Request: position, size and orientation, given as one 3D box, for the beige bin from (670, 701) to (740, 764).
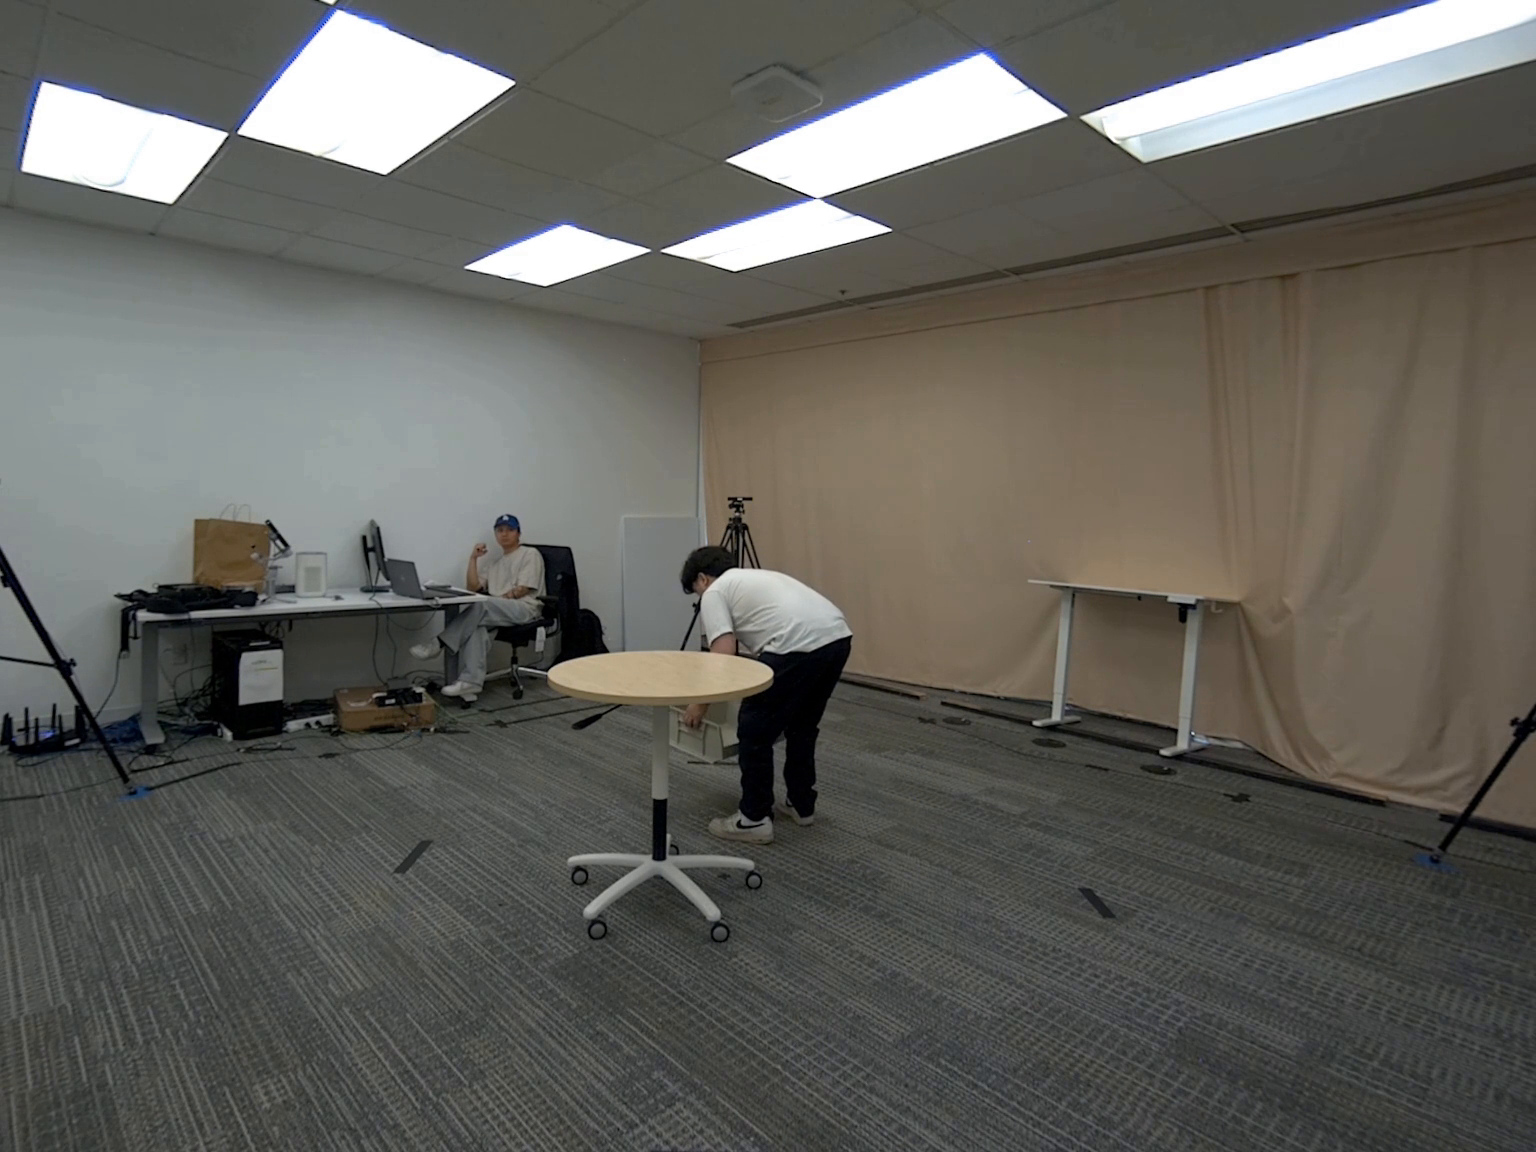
[{"bbox_3d":[-0.196,0.677,3.787,0.387,0.188,0.413,10,10,42],"label":"beige bin"}]
